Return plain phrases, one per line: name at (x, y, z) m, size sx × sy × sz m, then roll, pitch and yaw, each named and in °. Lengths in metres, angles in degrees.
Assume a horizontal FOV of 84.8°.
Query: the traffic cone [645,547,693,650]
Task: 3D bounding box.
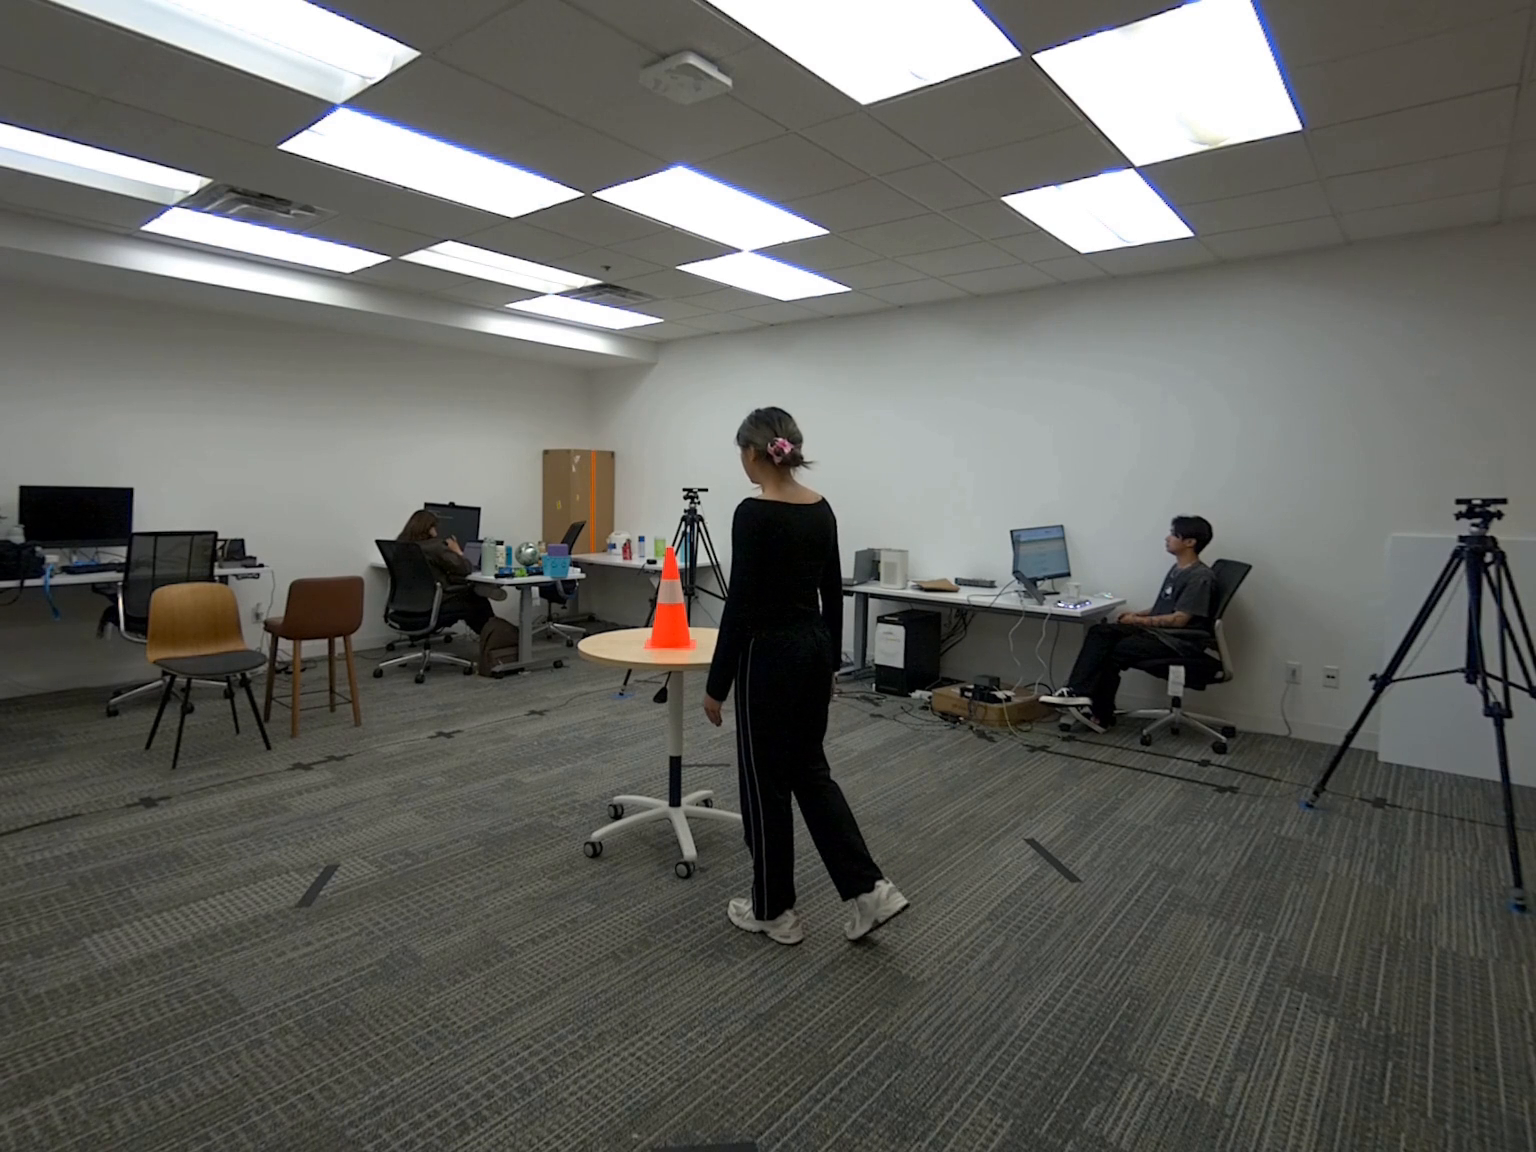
traffic cone at (-0.397, 0.077, 3.296) m, size 0.204 × 0.382 × 0.205 m, roll -1°, pitch 4°, yaw -3°
